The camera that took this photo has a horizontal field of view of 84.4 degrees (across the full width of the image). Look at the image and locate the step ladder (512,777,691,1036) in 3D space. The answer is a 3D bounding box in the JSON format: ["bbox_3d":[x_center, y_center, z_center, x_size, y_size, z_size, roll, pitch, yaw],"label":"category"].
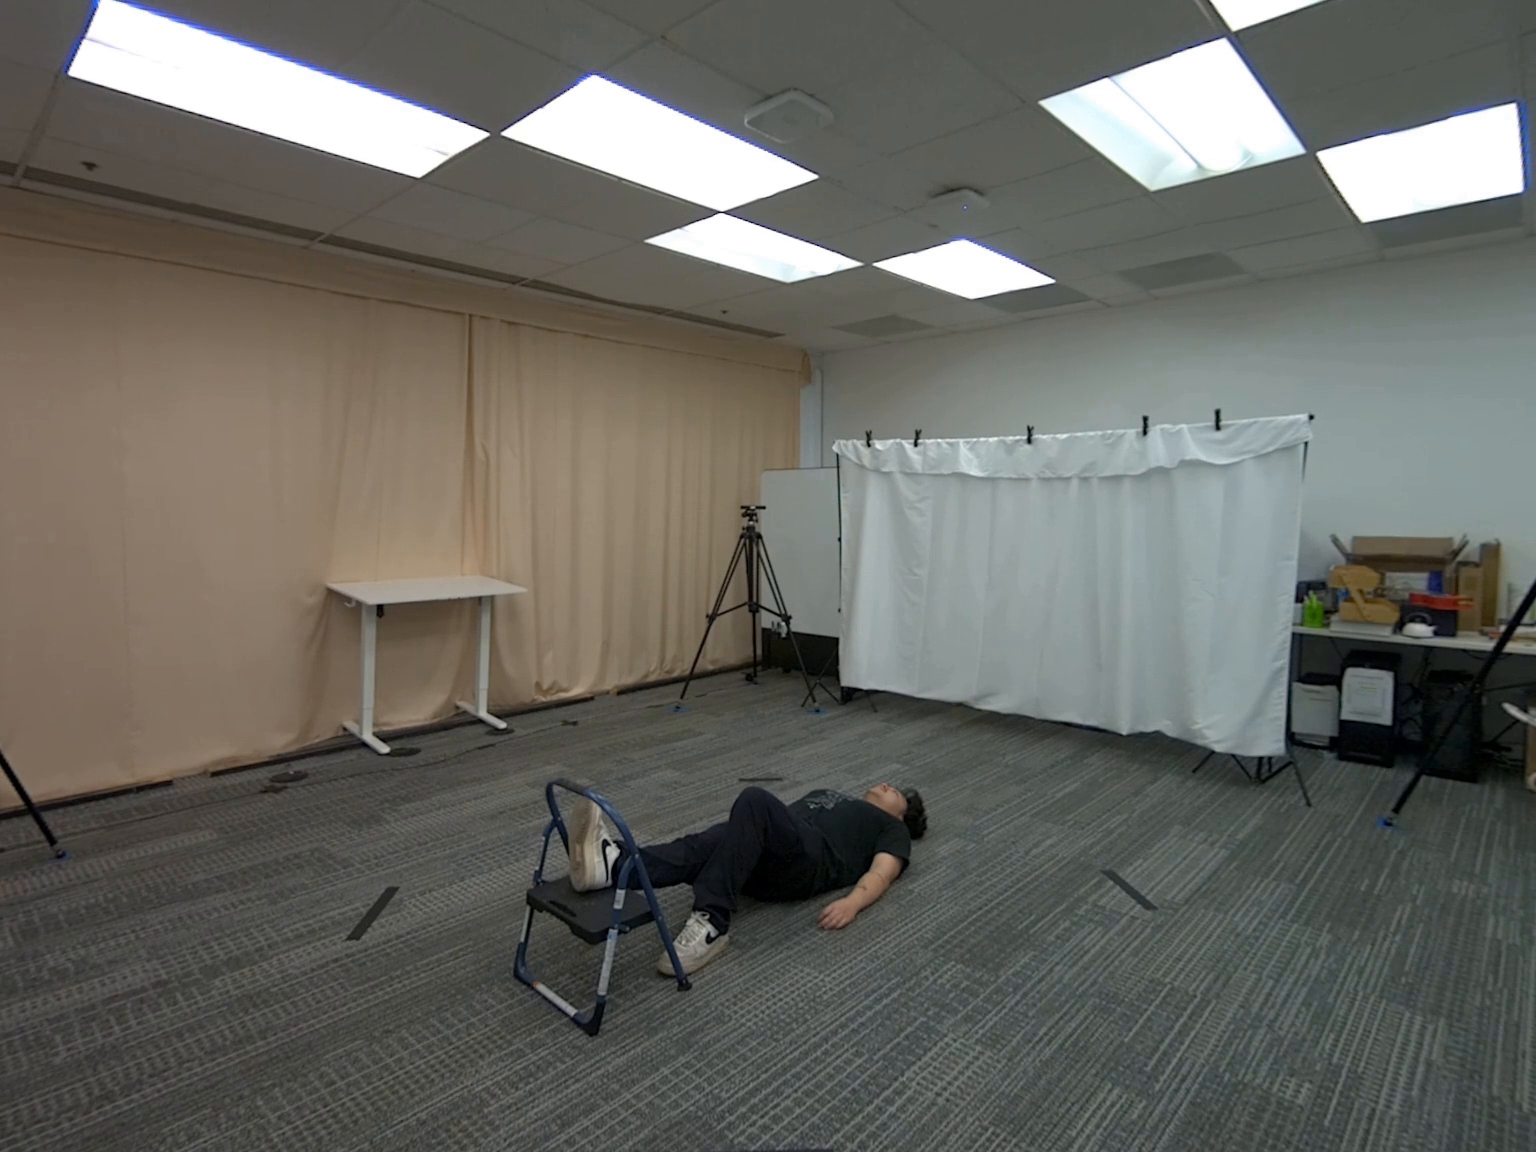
[{"bbox_3d":[-0.497,0.895,2.450,0.445,0.605,0.338,2,4,44],"label":"step ladder"}]
